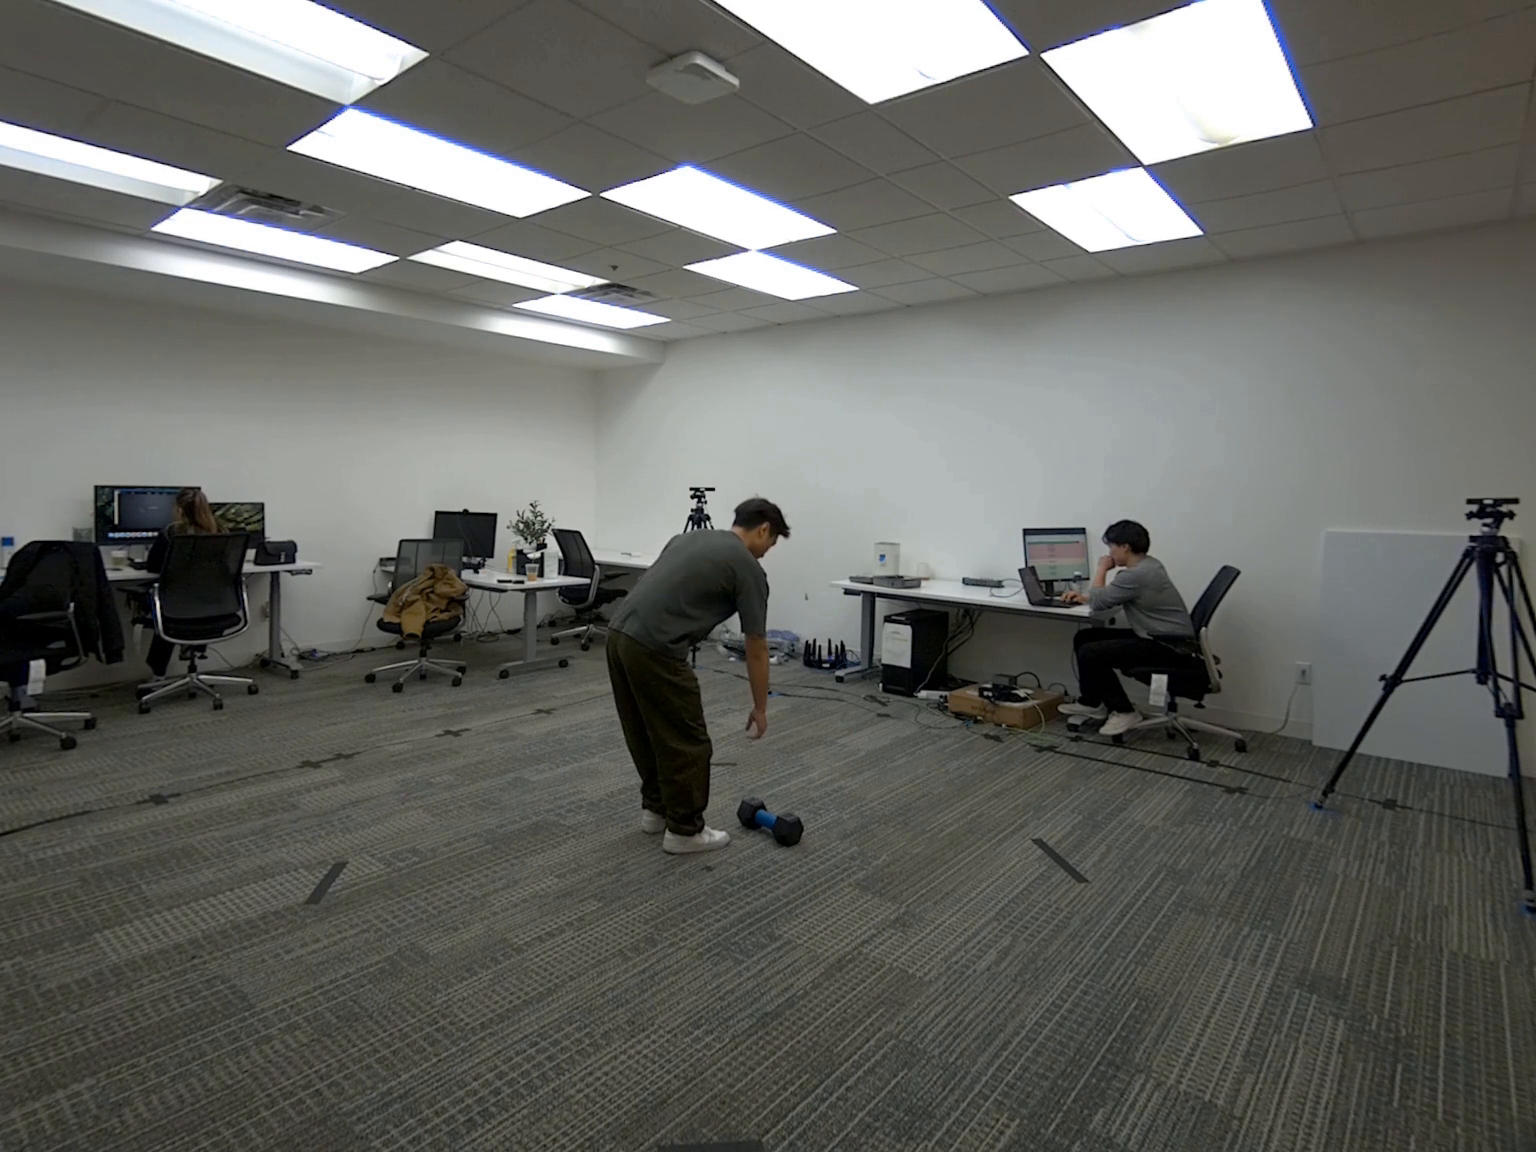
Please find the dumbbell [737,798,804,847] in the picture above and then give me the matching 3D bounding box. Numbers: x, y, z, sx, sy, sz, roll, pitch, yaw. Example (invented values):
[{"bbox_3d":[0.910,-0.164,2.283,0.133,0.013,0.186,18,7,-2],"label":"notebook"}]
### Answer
[{"bbox_3d":[-0.002,0.987,3.431,0.304,0.124,0.104,7,-23,48],"label":"dumbbell"}]
